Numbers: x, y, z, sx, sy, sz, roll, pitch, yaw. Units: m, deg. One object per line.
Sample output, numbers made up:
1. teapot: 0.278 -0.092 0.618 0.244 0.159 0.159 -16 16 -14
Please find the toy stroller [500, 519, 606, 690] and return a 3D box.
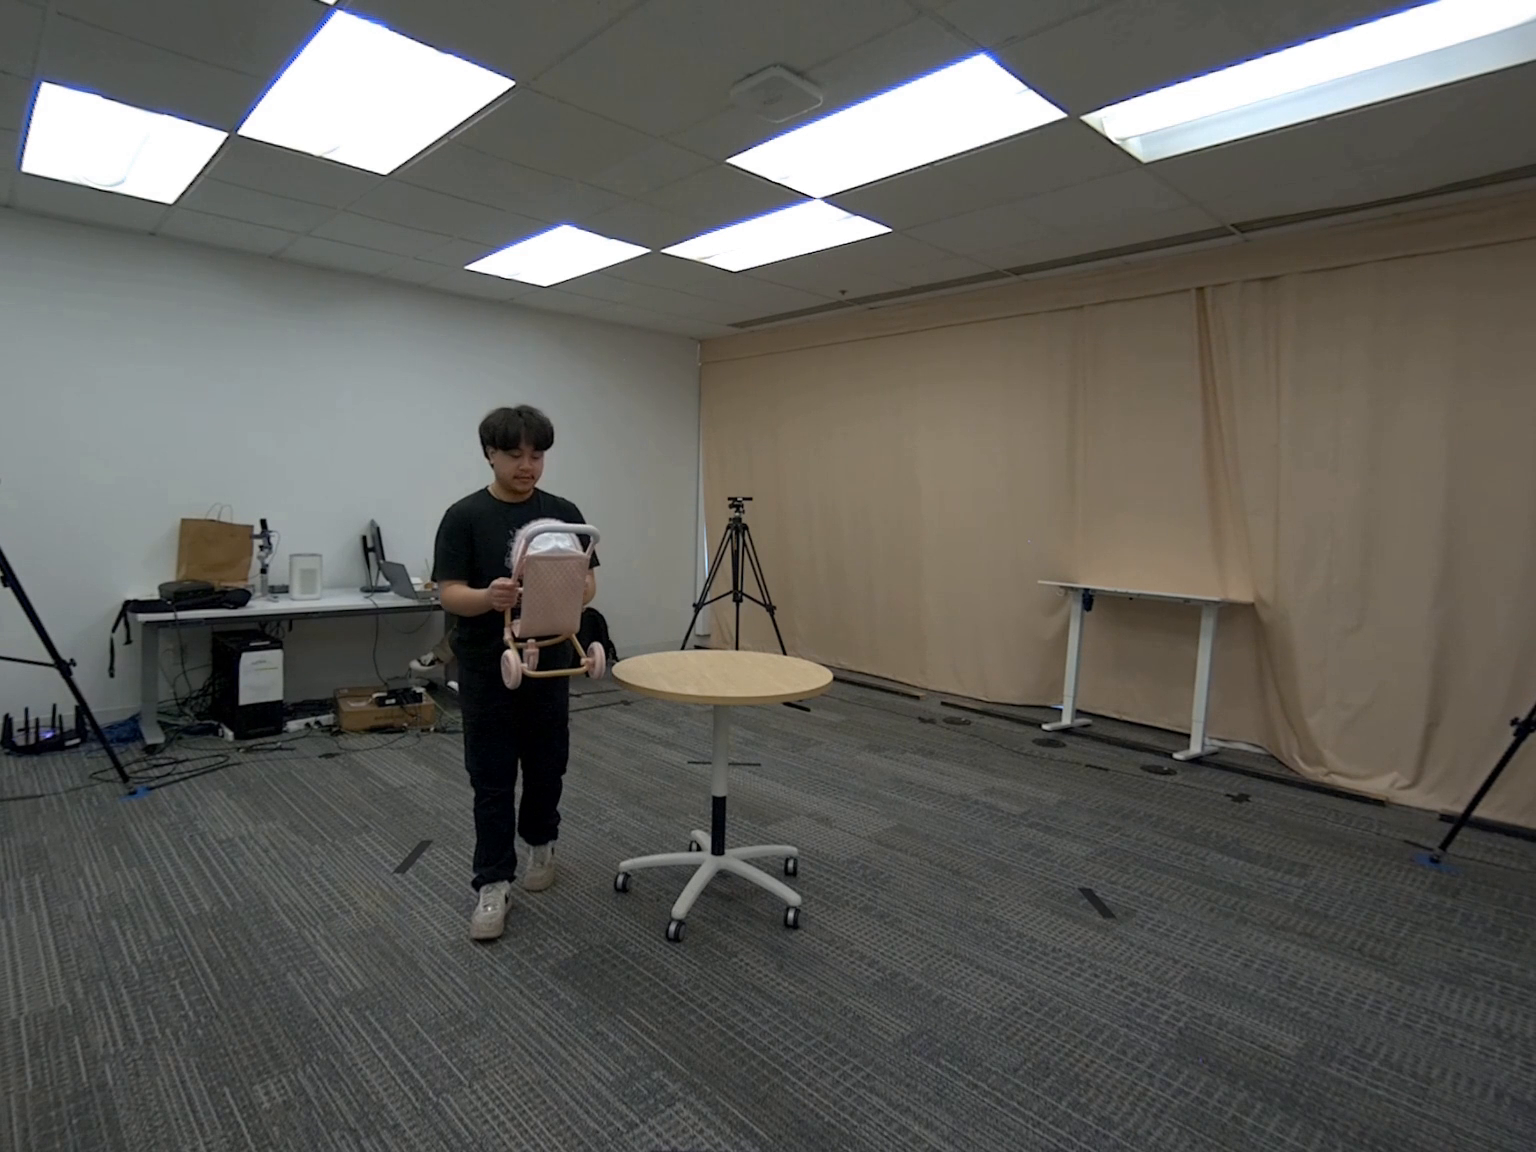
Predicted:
1. toy stroller: -0.656 0.078 2.450 0.276 0.530 0.350 -1 15 -25
